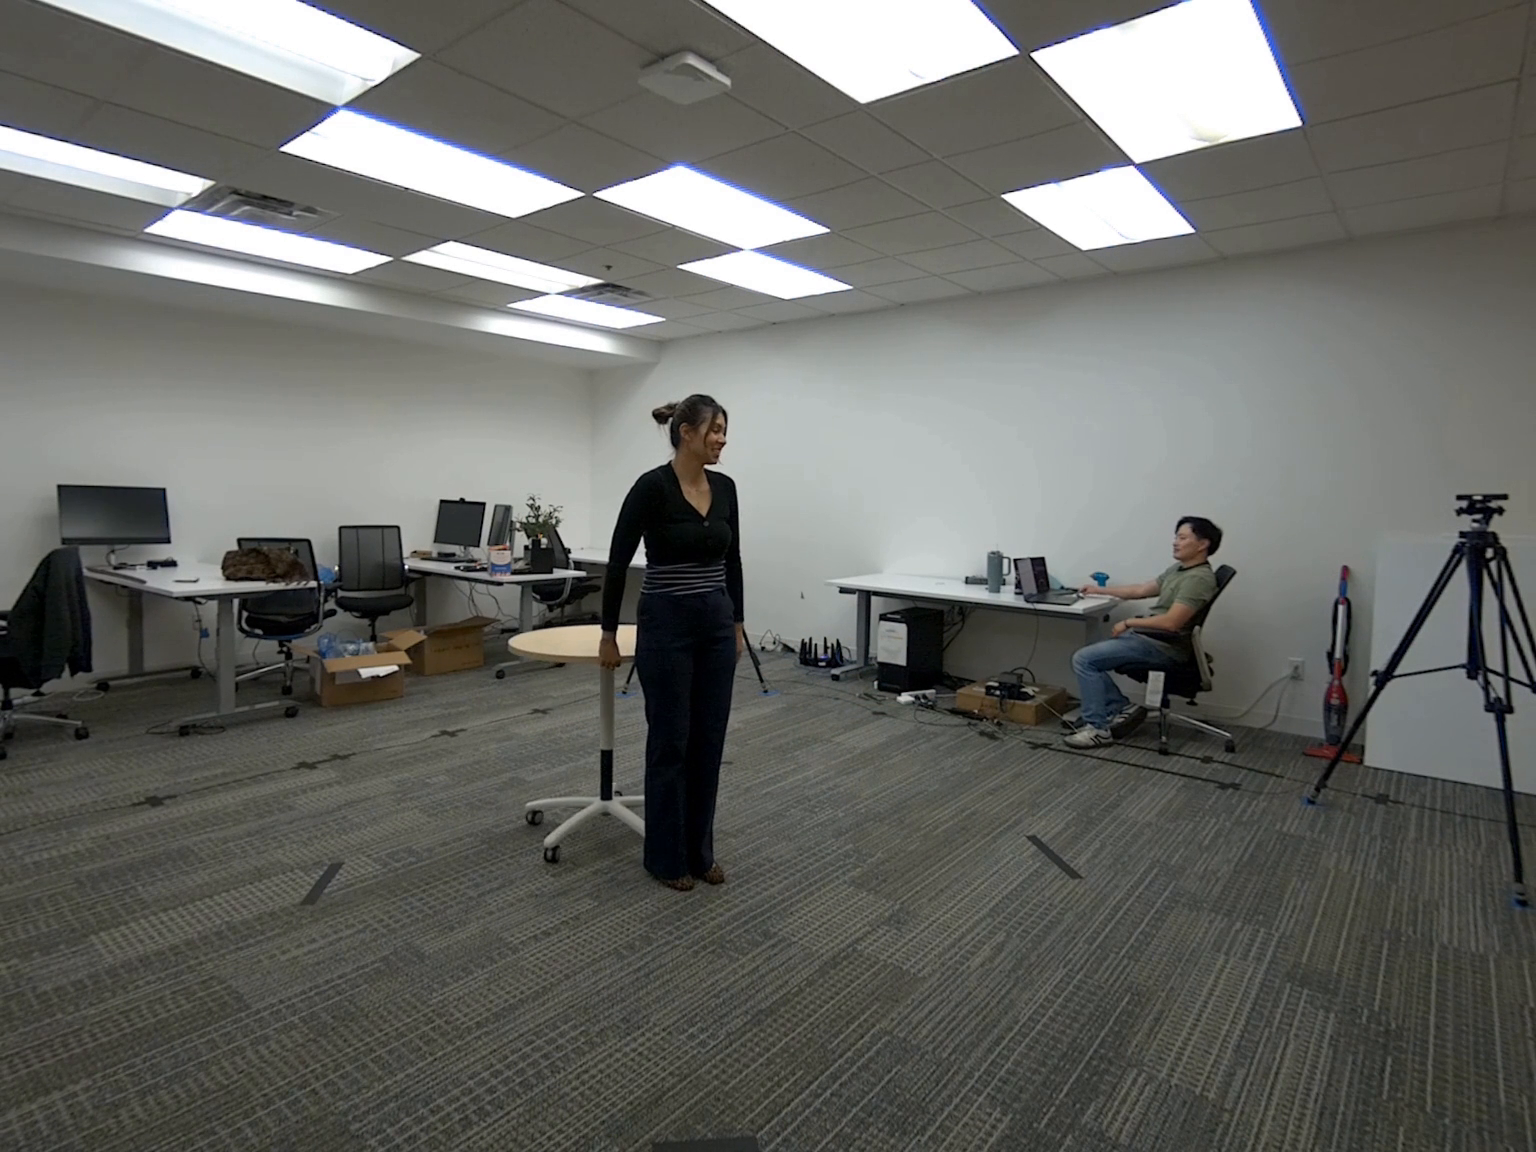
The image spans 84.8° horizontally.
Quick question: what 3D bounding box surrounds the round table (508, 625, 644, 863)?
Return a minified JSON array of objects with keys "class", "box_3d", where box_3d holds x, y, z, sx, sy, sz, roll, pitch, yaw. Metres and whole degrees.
[{"class":"round table","box_3d":[-0.658,0.642,3.391,0.763,0.792,0.767,0,4,-2]}]
